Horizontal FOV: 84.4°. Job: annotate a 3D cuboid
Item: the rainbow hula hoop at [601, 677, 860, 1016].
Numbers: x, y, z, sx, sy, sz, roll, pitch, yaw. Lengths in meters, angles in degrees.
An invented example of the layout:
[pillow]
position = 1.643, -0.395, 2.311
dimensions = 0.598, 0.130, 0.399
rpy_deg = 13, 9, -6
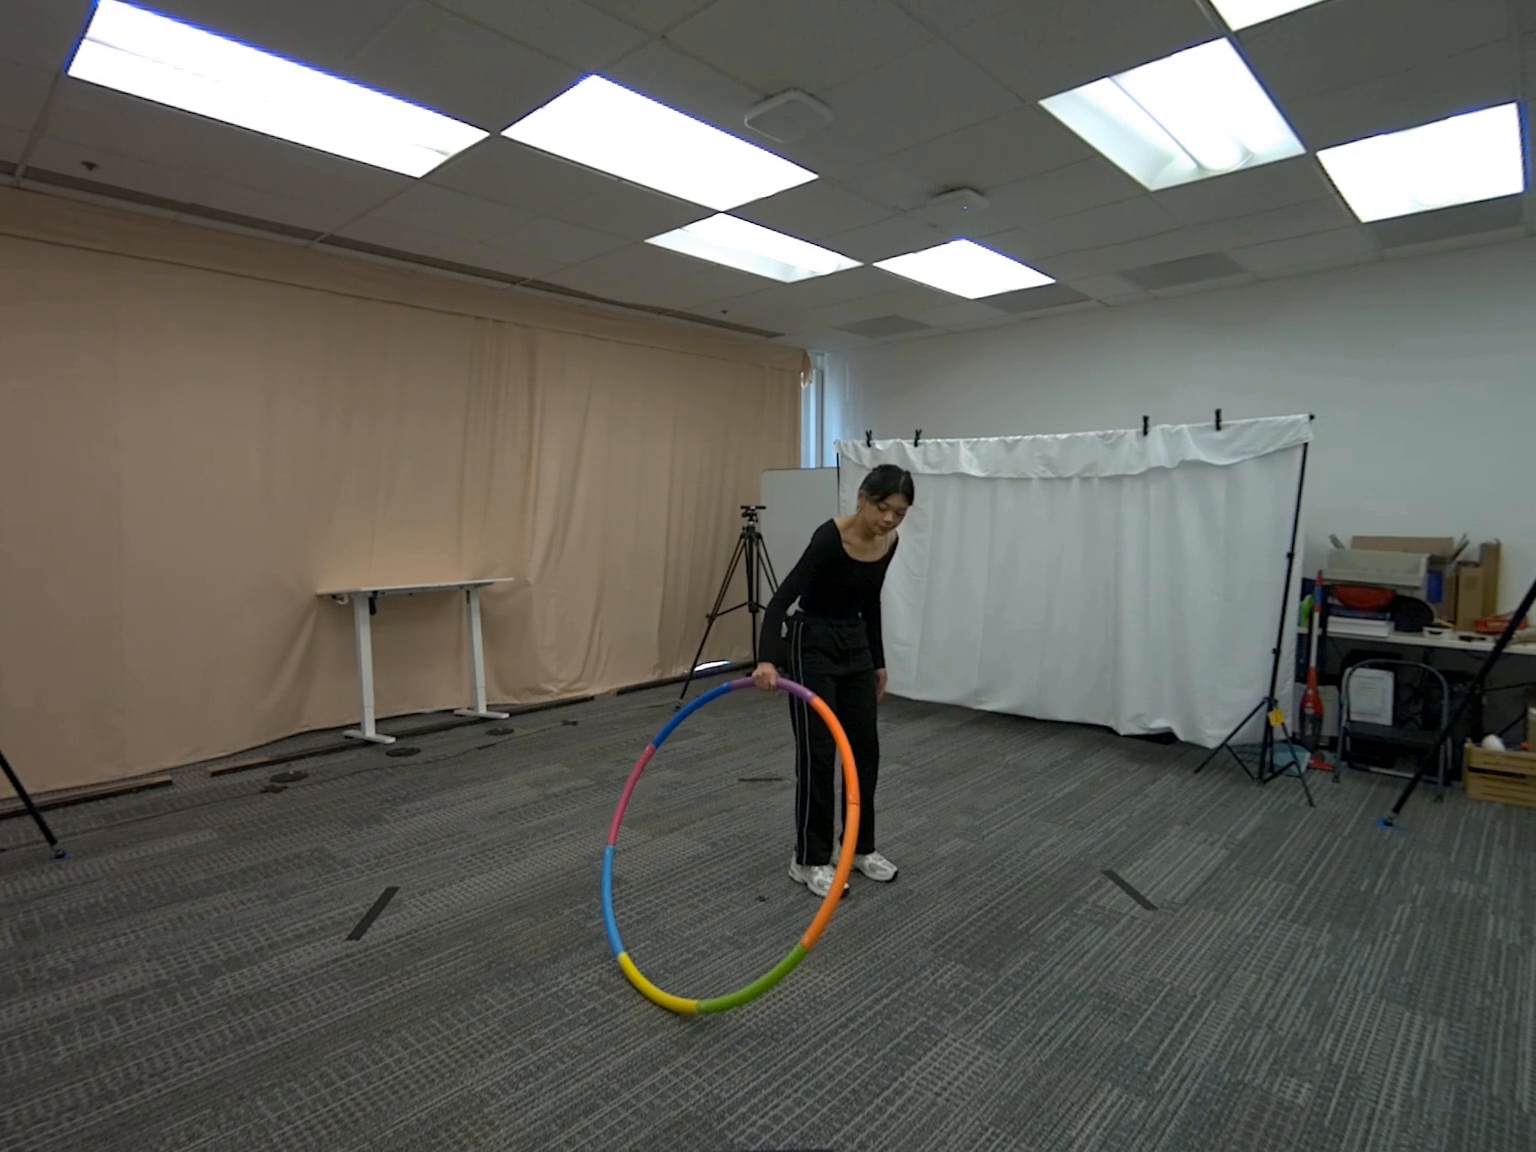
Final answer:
[rainbow hula hoop]
position = -0.146, 0.761, 2.522
dimensions = 1.011, 0.981, 0.034
rpy_deg = 4, -26, 47
